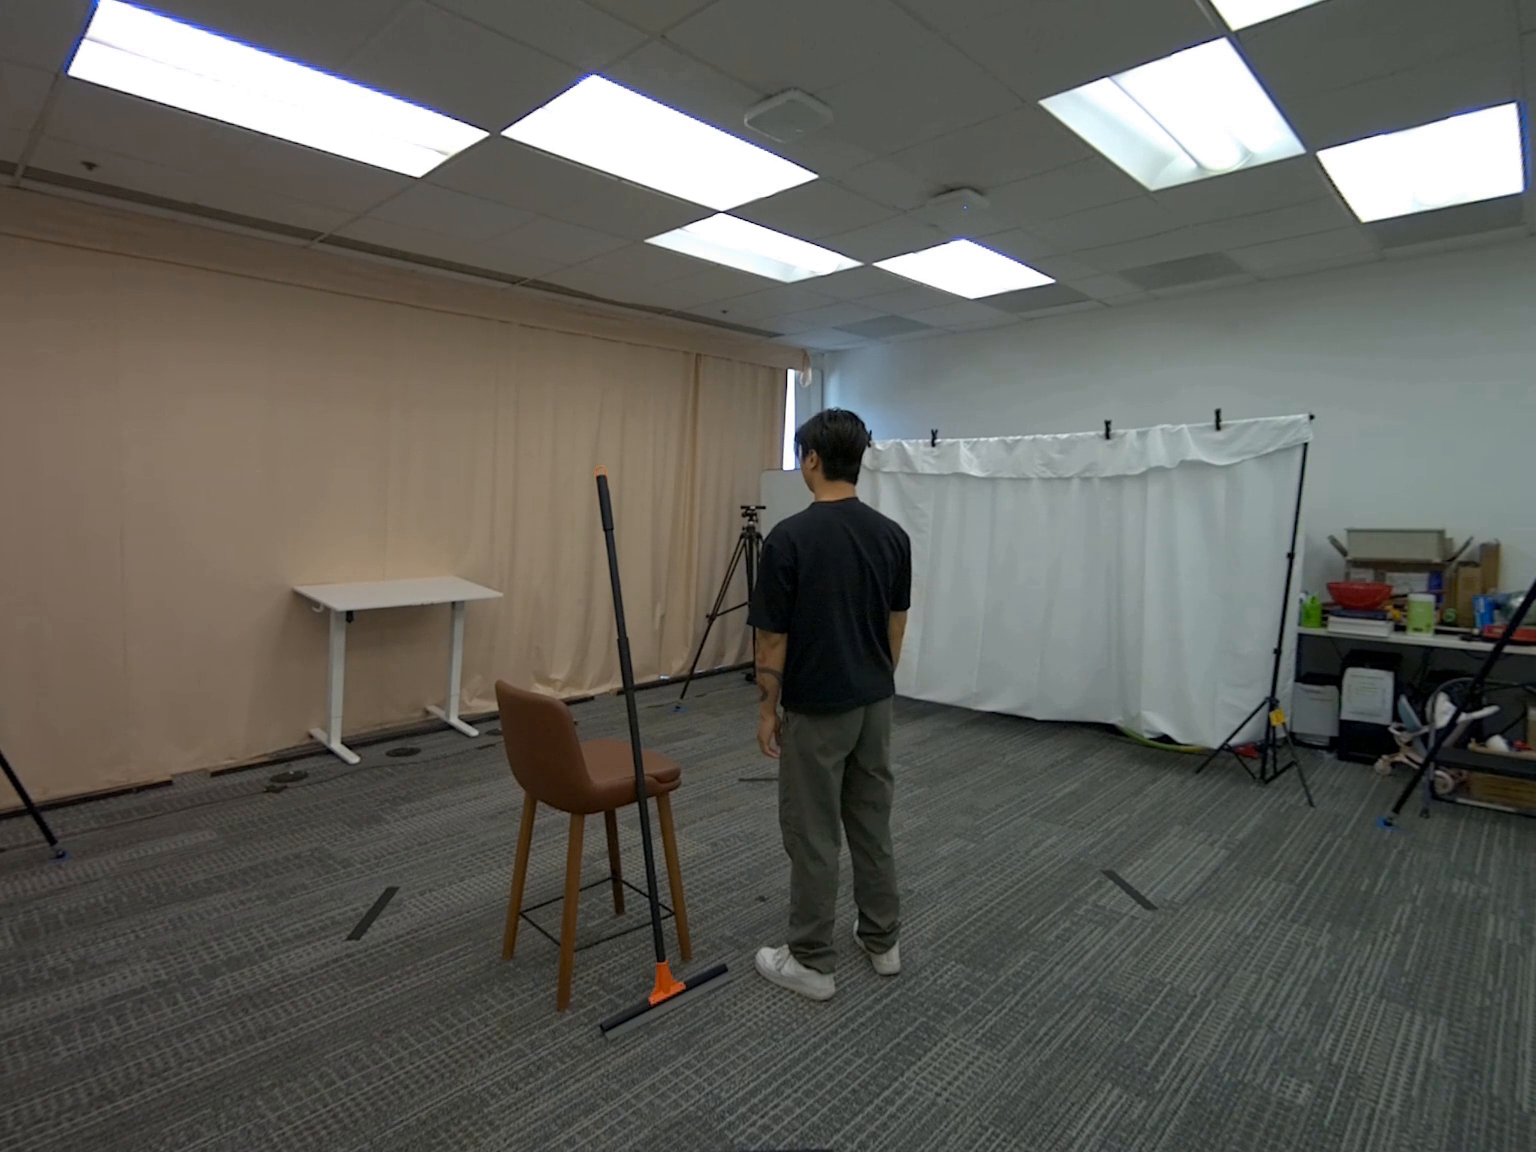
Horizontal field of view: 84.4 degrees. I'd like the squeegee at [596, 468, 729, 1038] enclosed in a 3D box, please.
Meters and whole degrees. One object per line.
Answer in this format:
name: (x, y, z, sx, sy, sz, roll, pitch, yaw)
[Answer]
squeegee: (-0.380, 0.432, 2.422, 0.426, 1.541, 0.054, -5, -3, -30)
